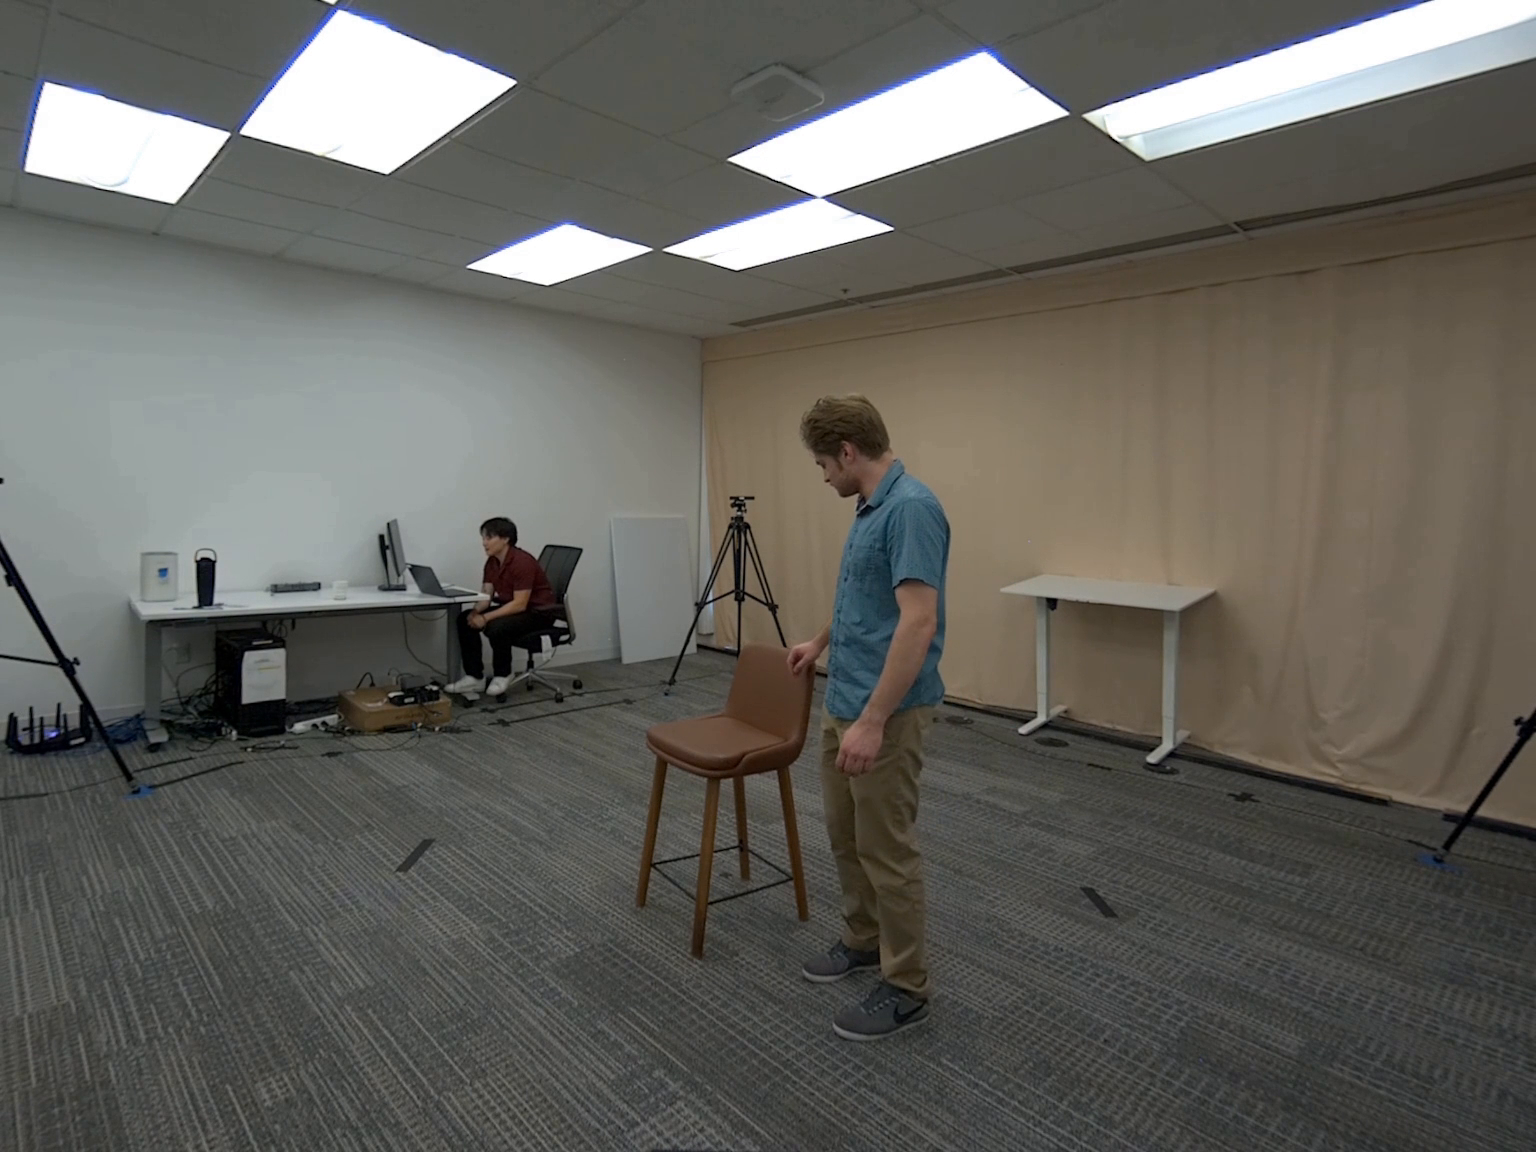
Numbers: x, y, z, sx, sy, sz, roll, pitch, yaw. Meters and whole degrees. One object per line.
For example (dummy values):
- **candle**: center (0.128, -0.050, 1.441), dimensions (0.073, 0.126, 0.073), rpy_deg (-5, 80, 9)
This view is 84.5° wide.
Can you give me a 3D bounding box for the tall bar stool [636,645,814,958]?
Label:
- **tall bar stool**: center (-0.145, 0.701, 2.802), dimensions (0.457, 0.888, 0.467), rpy_deg (1, 3, -35)
